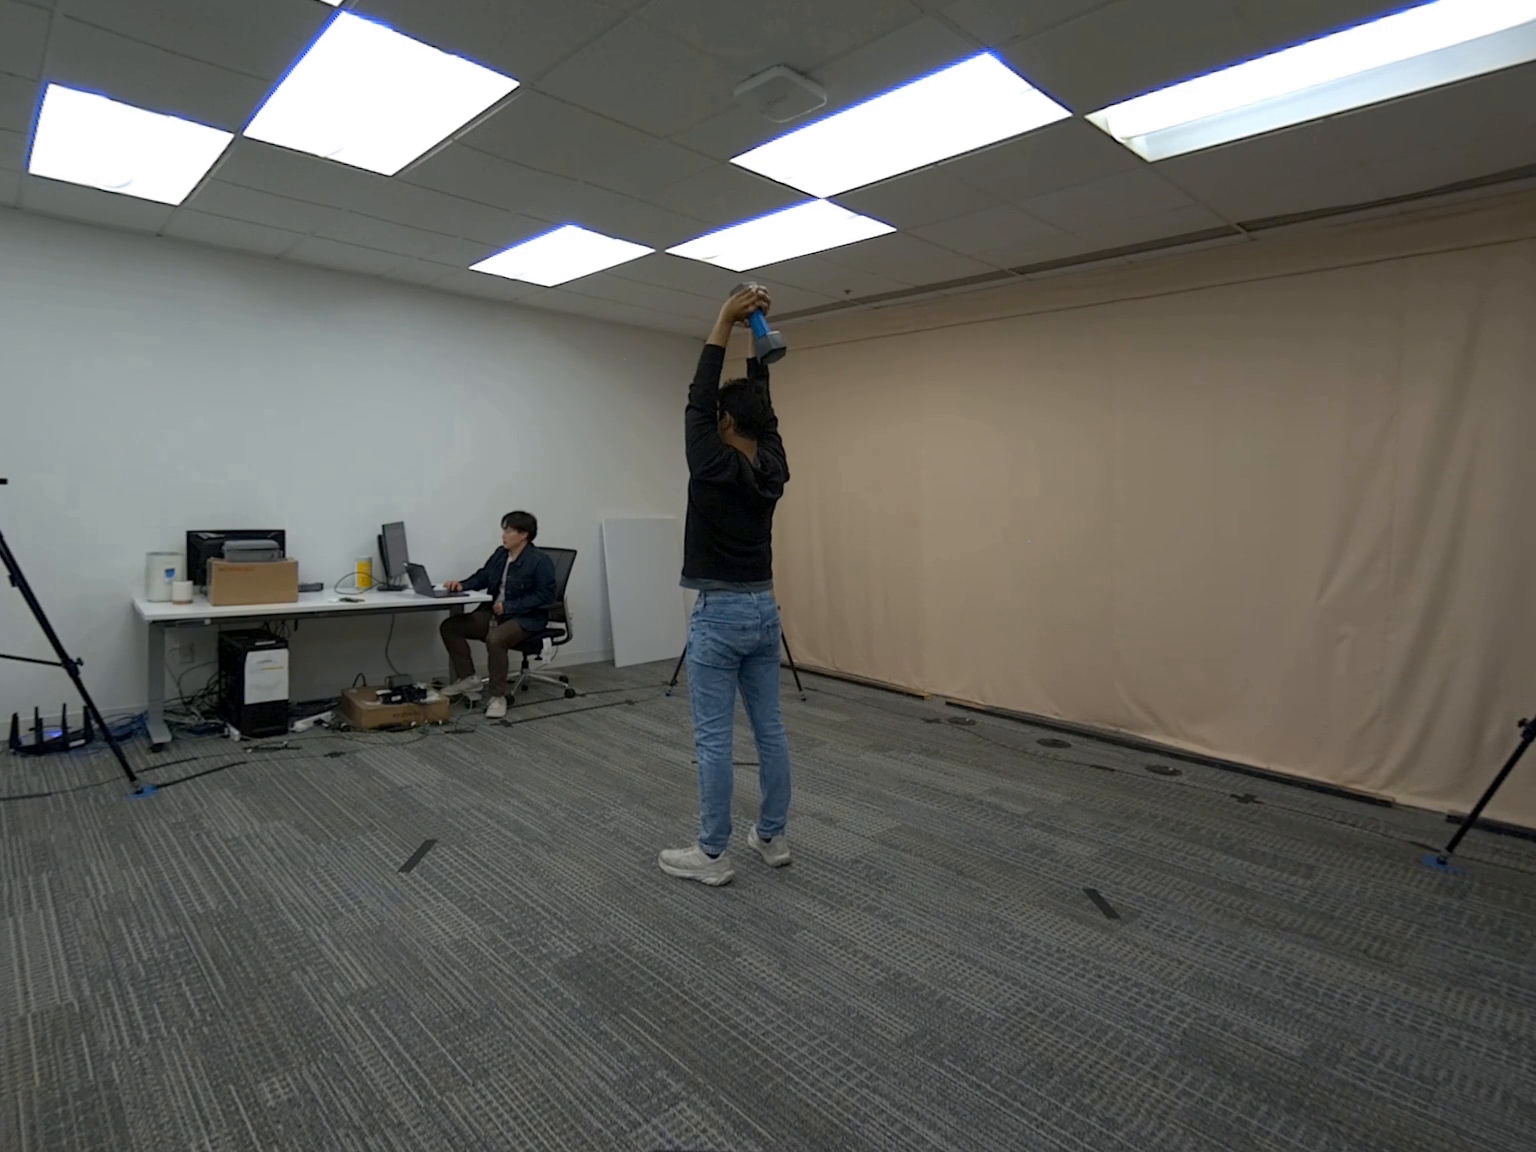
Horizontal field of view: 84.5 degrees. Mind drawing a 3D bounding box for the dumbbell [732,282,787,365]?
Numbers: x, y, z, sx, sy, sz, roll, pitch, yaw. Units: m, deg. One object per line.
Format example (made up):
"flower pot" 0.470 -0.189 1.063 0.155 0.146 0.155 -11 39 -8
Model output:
"dumbbell" -0.039 -0.916 3.059 0.121 0.296 0.109 -20 -10 -29
